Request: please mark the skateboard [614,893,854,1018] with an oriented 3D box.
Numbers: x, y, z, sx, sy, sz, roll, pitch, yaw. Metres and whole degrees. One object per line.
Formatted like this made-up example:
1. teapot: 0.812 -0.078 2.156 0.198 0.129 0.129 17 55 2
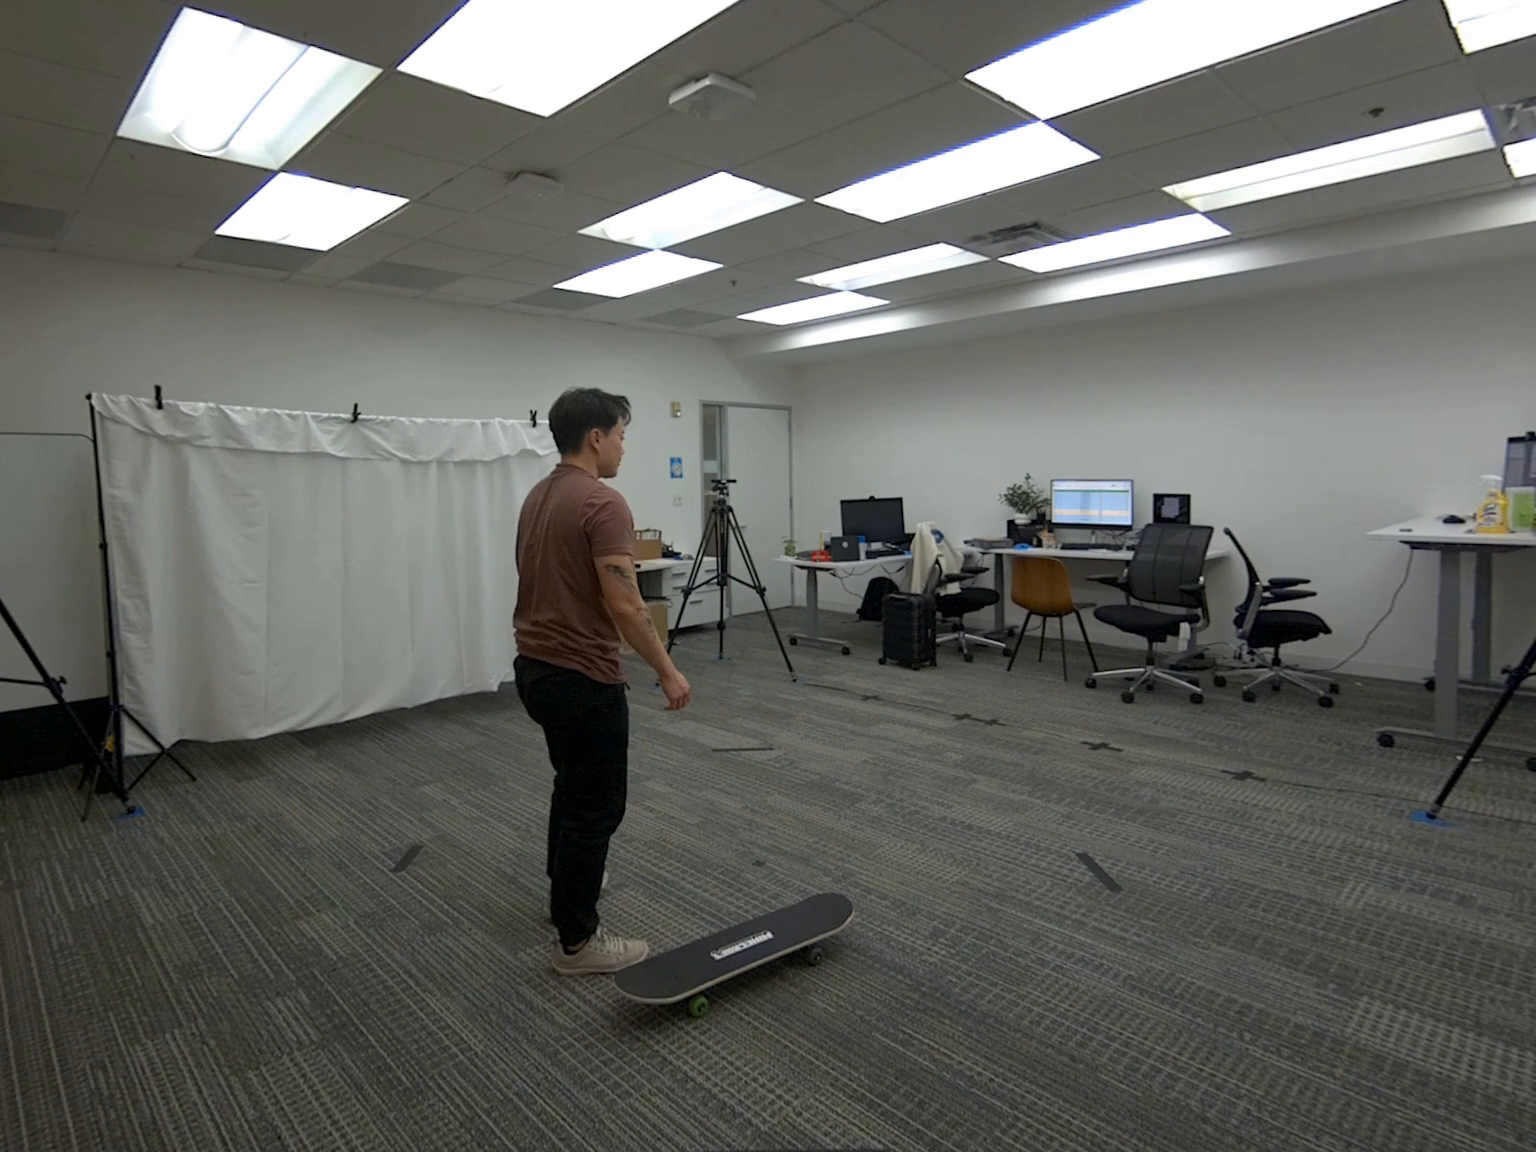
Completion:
1. skateboard: -0.076 1.070 2.415 0.766 0.110 0.199 -6 9 -35
